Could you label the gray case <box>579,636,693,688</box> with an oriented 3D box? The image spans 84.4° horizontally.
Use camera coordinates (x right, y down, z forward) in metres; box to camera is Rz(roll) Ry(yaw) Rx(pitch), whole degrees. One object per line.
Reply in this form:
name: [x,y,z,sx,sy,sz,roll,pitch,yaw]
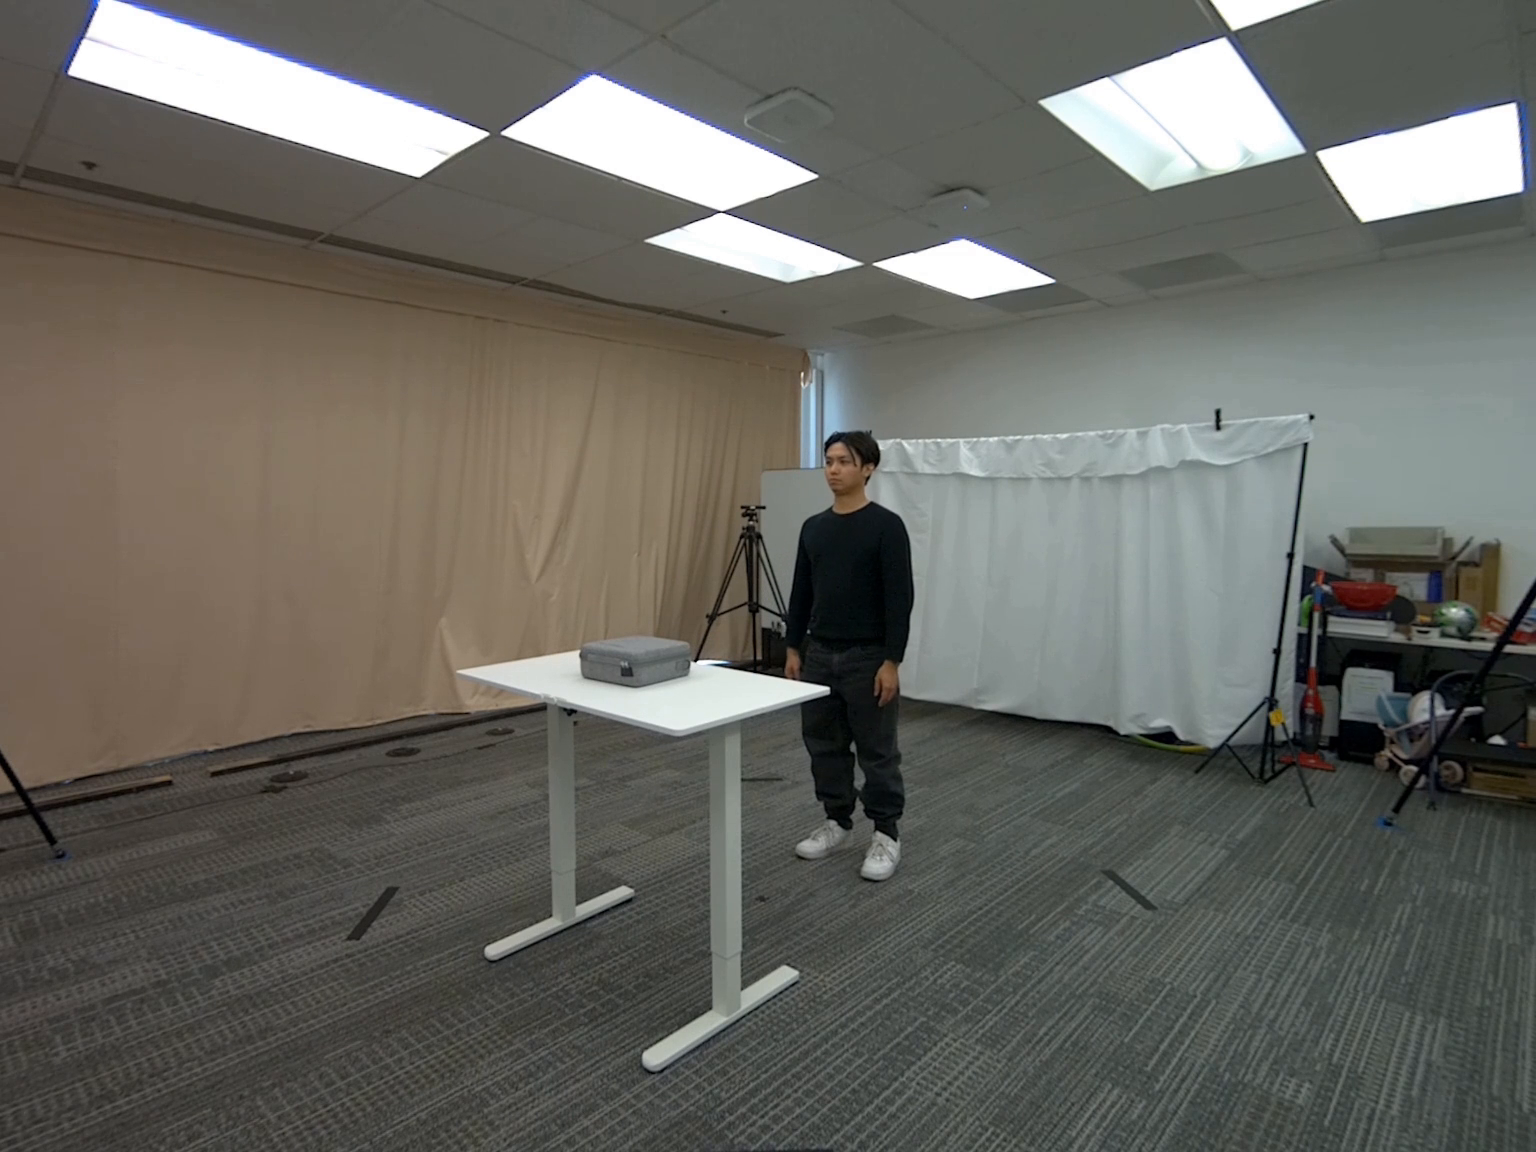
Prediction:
gray case: [-0.396,0.249,2.522,0.265,0.104,0.253,3,5,37]
